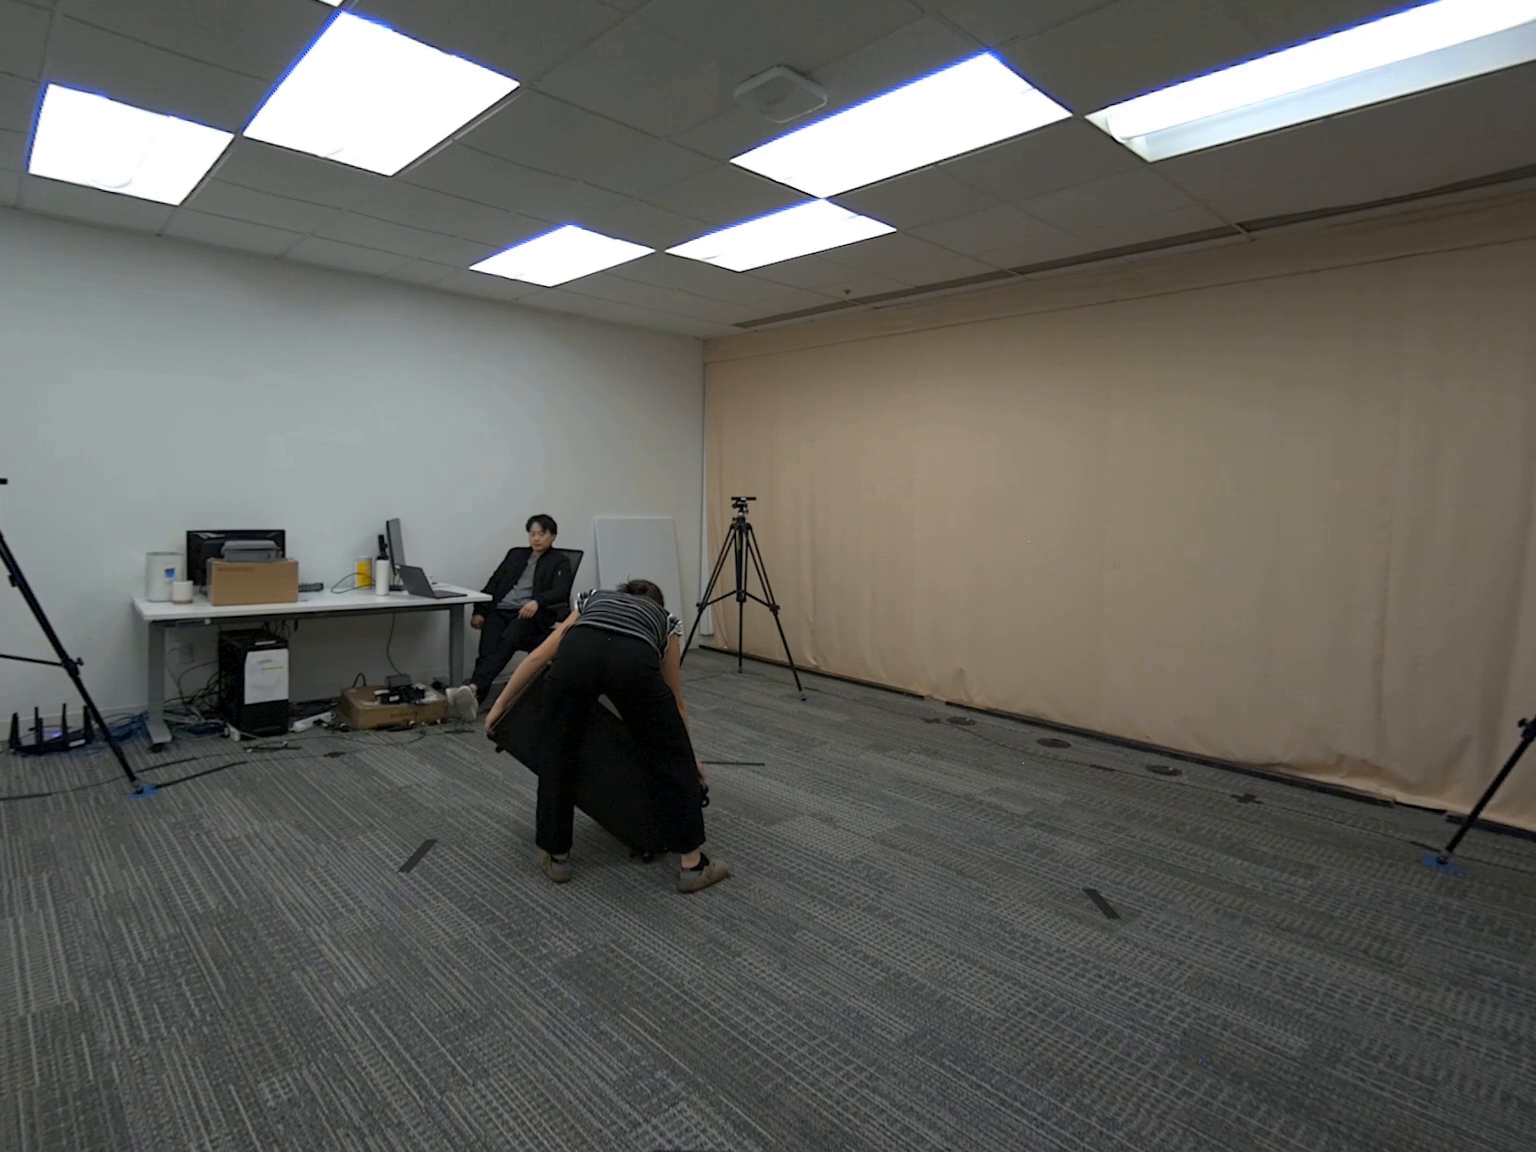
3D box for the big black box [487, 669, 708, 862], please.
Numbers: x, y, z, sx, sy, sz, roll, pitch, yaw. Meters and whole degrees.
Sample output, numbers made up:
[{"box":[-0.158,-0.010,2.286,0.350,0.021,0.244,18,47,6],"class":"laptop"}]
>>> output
[{"box":[-0.673,0.709,3.382,0.851,0.396,0.528,41,-3,-12],"class":"big black box"}]
